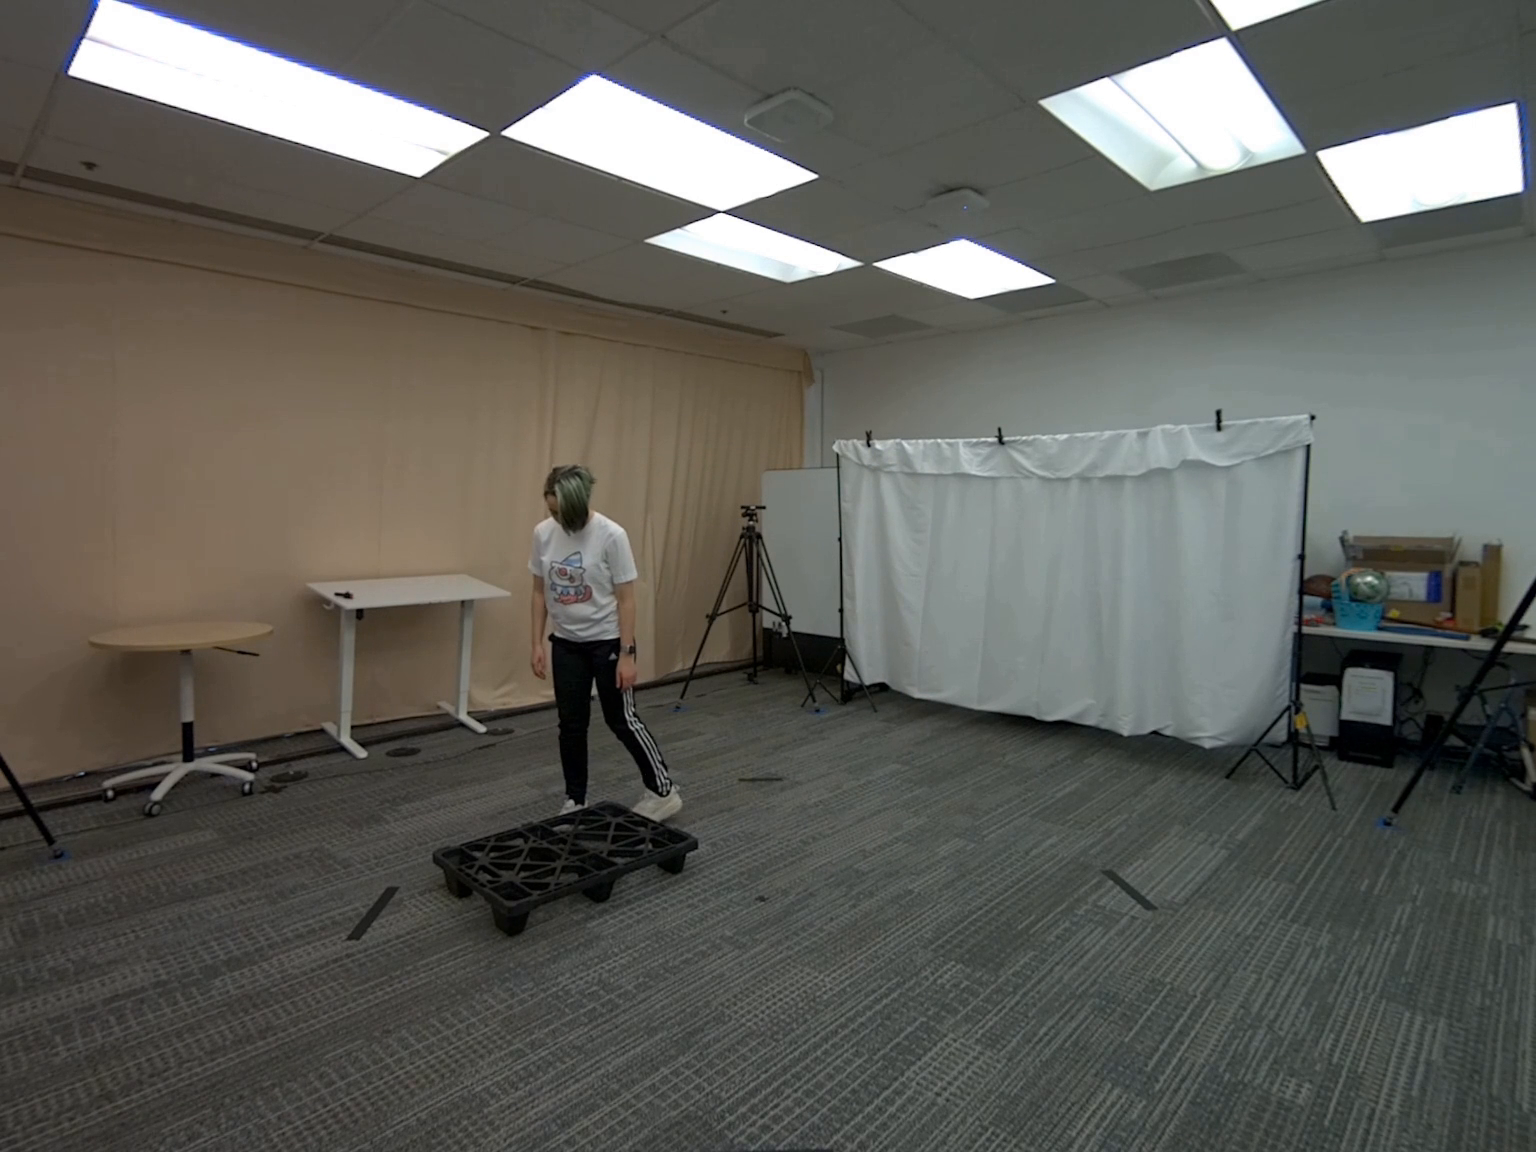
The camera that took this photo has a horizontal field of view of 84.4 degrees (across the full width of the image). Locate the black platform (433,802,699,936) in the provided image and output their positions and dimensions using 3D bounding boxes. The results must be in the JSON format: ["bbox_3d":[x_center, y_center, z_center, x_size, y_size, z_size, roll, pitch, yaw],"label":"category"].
[{"bbox_3d":[-0.744,1.071,3.139,0.781,0.143,0.625,-5,7,-43],"label":"black platform"}]
